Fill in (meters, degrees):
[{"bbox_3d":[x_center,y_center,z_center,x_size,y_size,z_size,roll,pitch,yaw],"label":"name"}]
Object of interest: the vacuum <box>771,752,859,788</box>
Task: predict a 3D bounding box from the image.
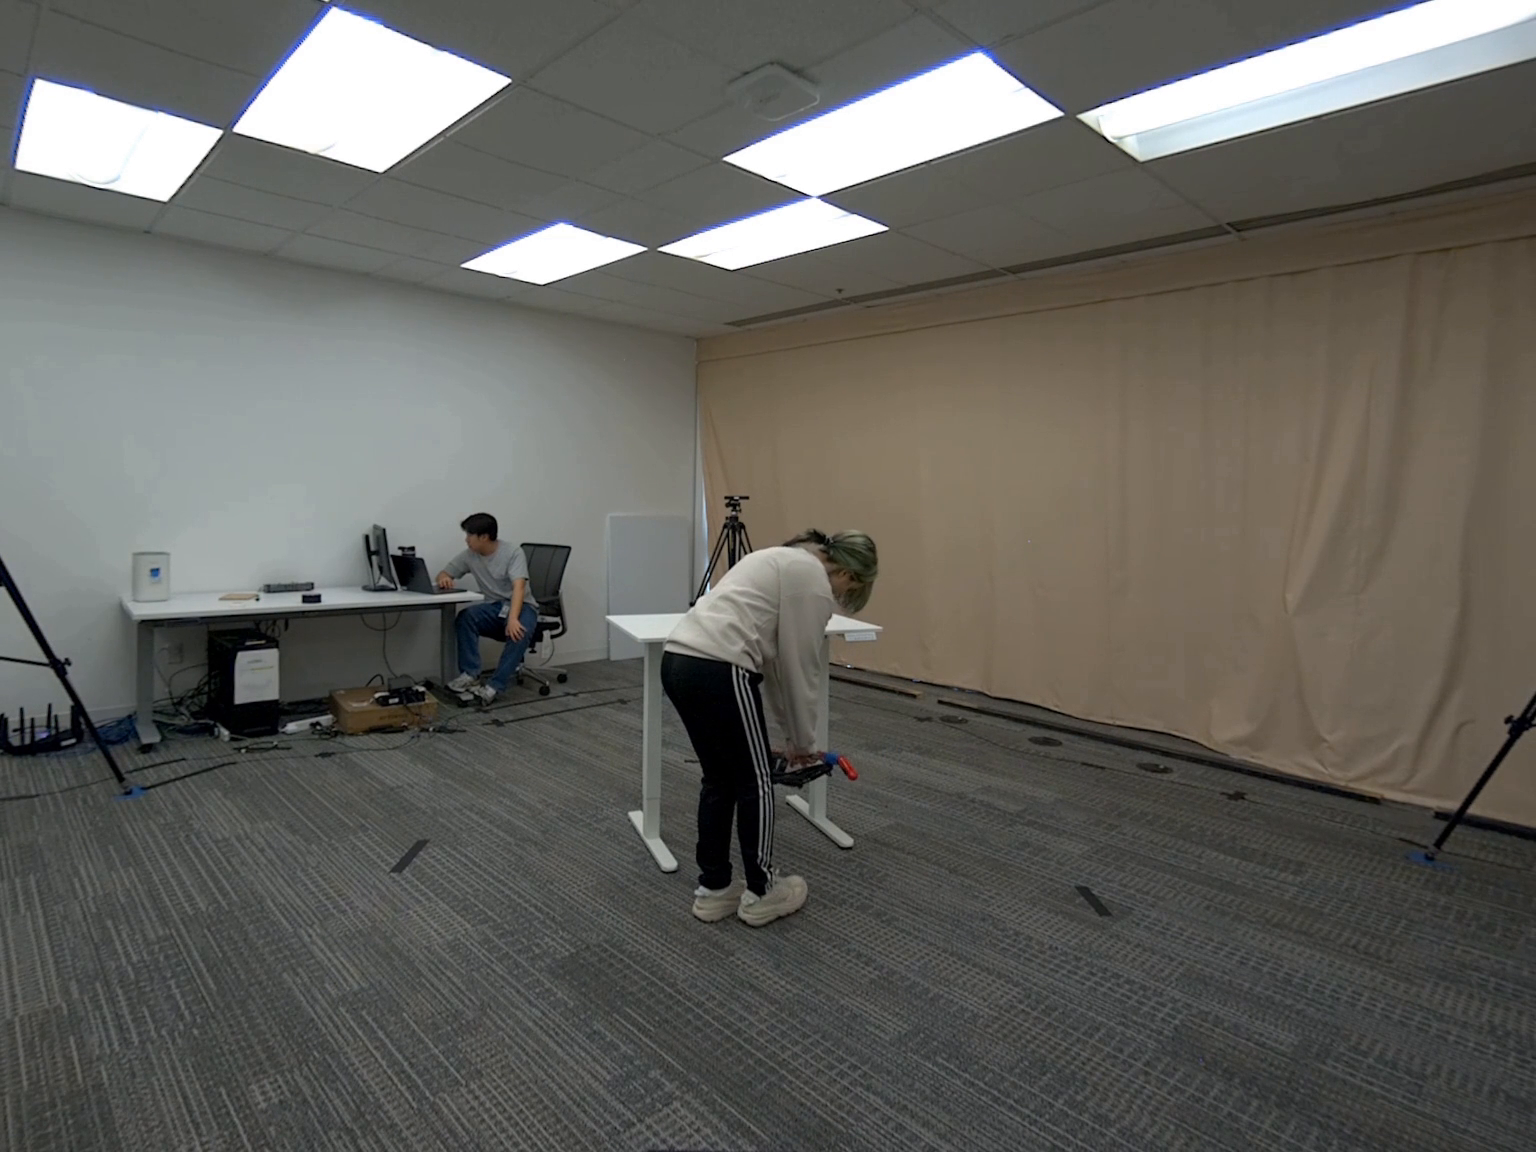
[{"bbox_3d":[0.066,0.683,2.992,0.248,0.145,1.057,15,-15,-19],"label":"vacuum"}]
